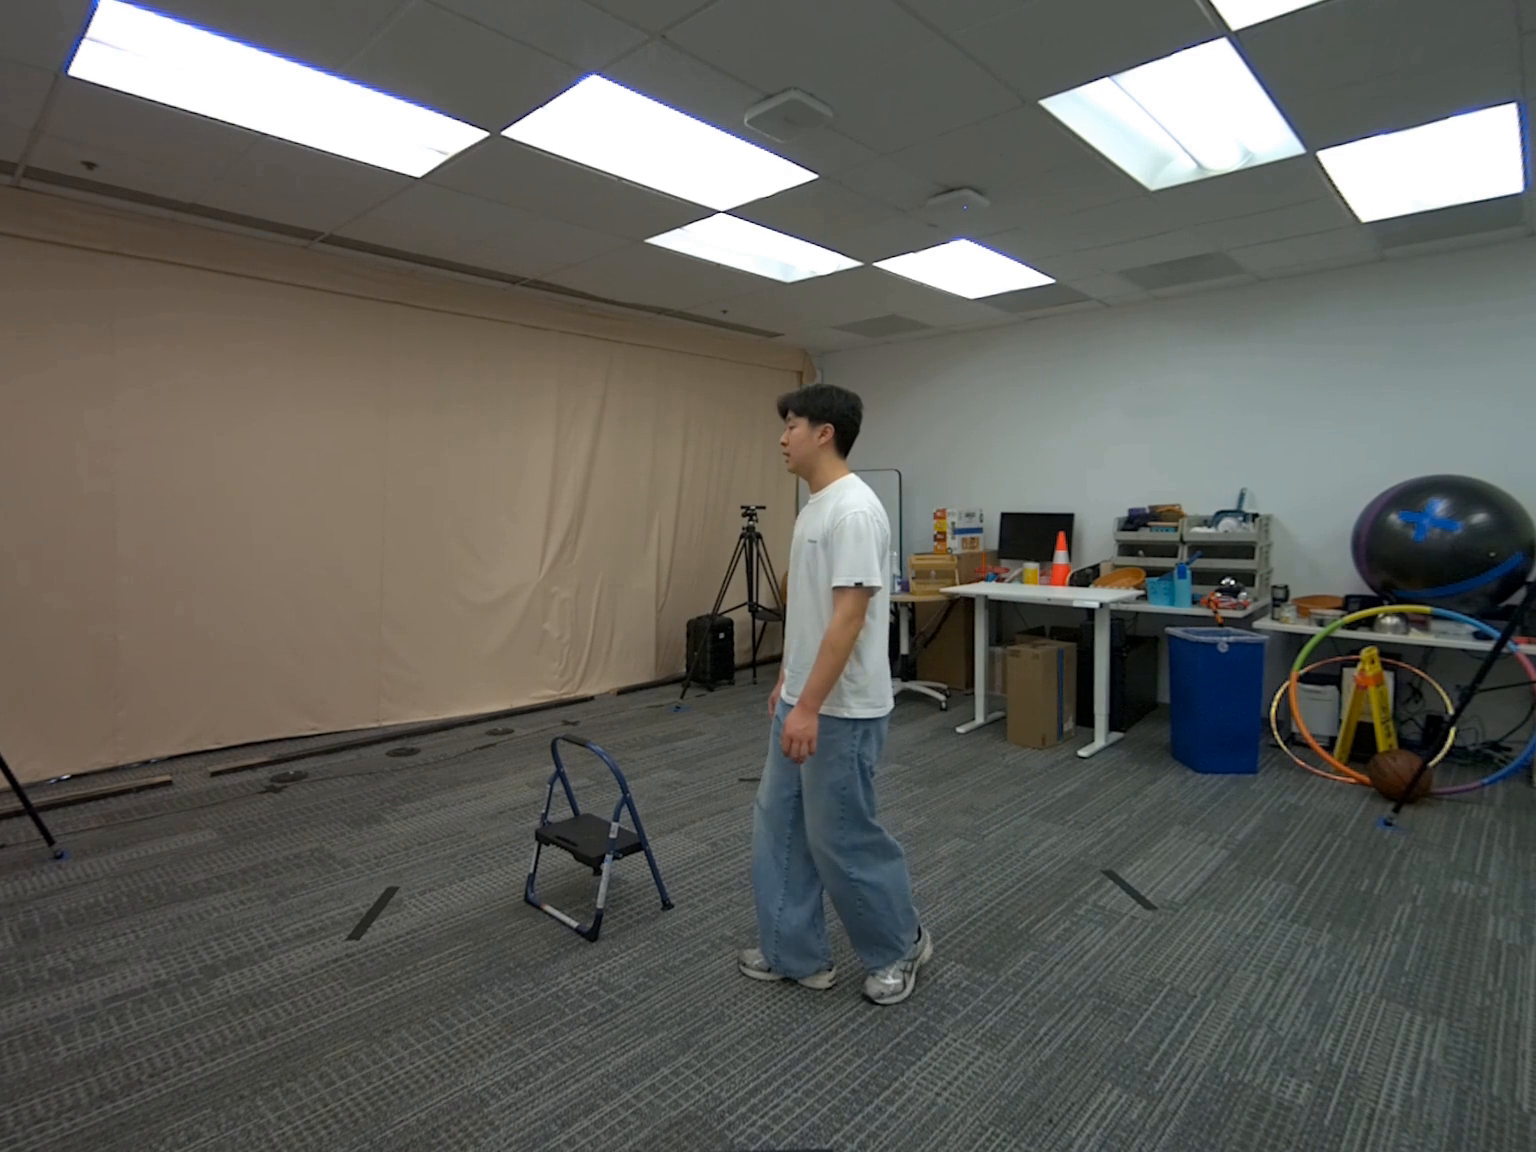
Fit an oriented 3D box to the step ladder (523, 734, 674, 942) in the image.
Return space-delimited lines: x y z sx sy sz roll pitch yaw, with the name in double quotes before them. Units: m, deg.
"step ladder" -0.599 0.847 2.937 0.445 0.605 0.338 2 4 43
